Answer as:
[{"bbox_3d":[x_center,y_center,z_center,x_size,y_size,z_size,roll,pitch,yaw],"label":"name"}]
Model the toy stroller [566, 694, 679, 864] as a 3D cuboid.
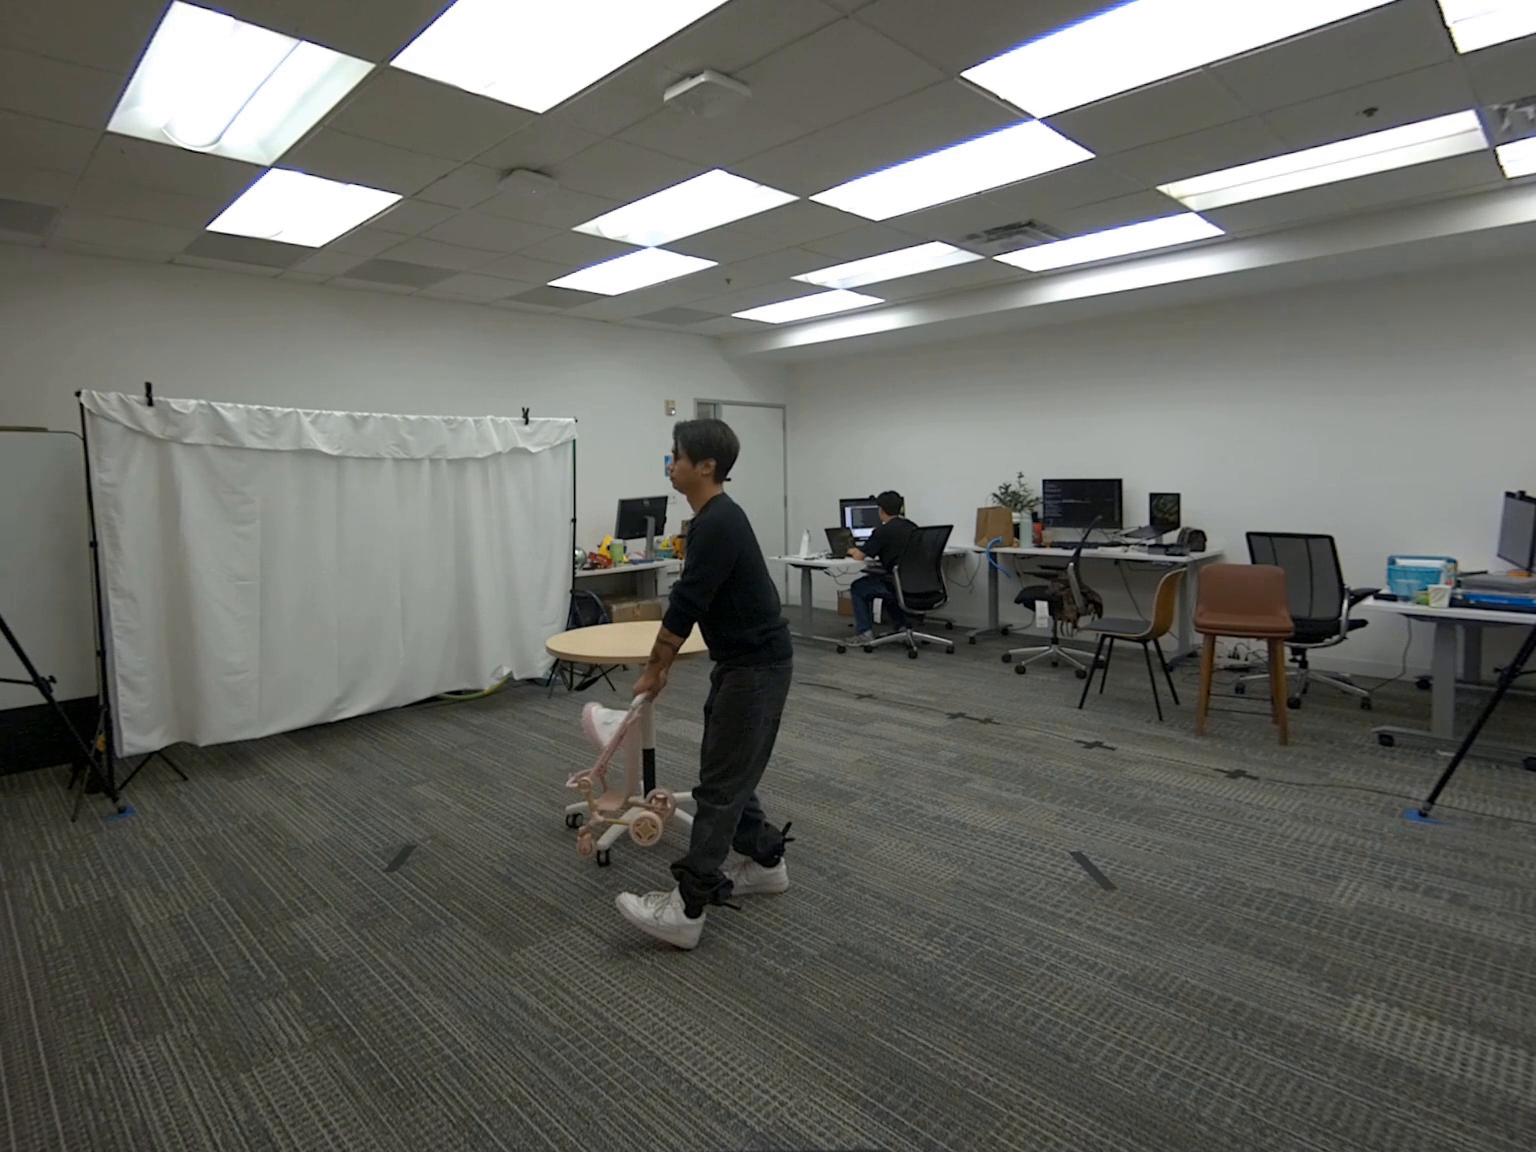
[{"bbox_3d":[-0.510,0.646,2.802,0.344,0.536,0.279,-9,-1,10],"label":"toy stroller"}]
